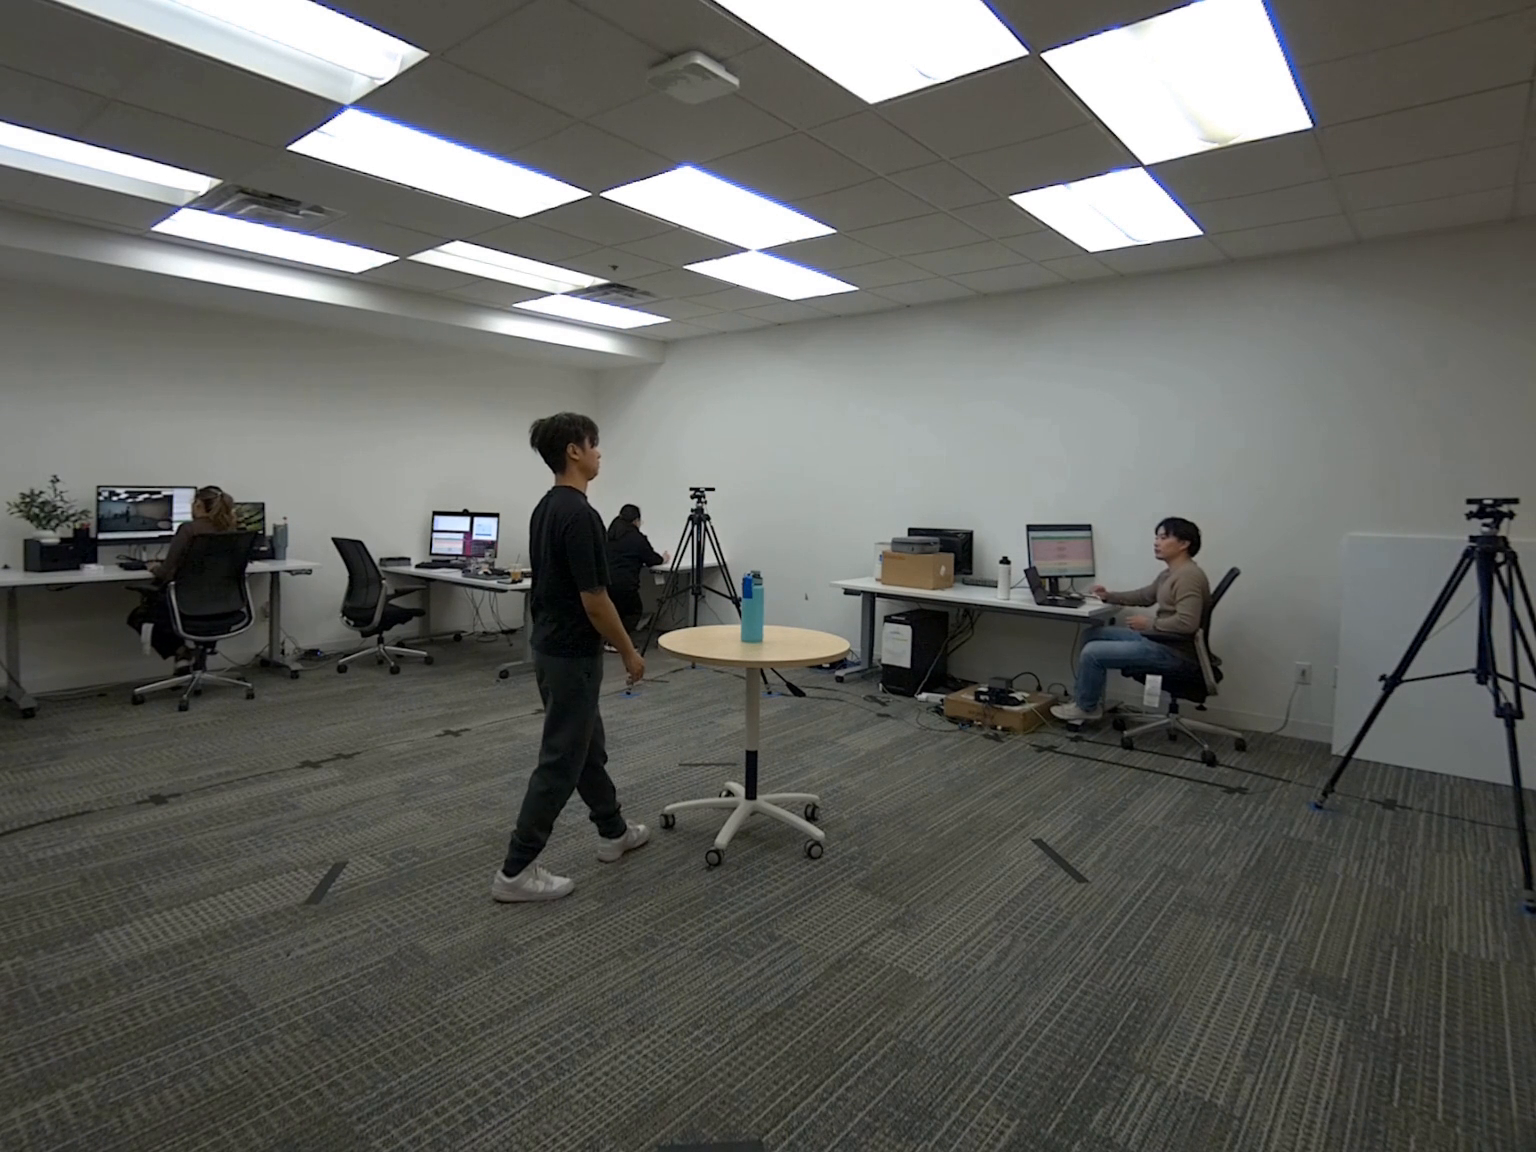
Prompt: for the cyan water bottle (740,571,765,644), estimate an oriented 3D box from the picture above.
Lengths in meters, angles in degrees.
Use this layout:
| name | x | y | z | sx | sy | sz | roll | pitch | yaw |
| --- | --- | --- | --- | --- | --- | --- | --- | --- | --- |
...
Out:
| name | x | y | z | sx | sy | sz | roll | pitch | yaw |
| --- | --- | --- | --- | --- | --- | --- | --- | --- | --- |
| cyan water bottle | -0.076 | 0.119 | 3.406 | 0.092 | 0.282 | 0.093 | -2 | 6 | -2 |
